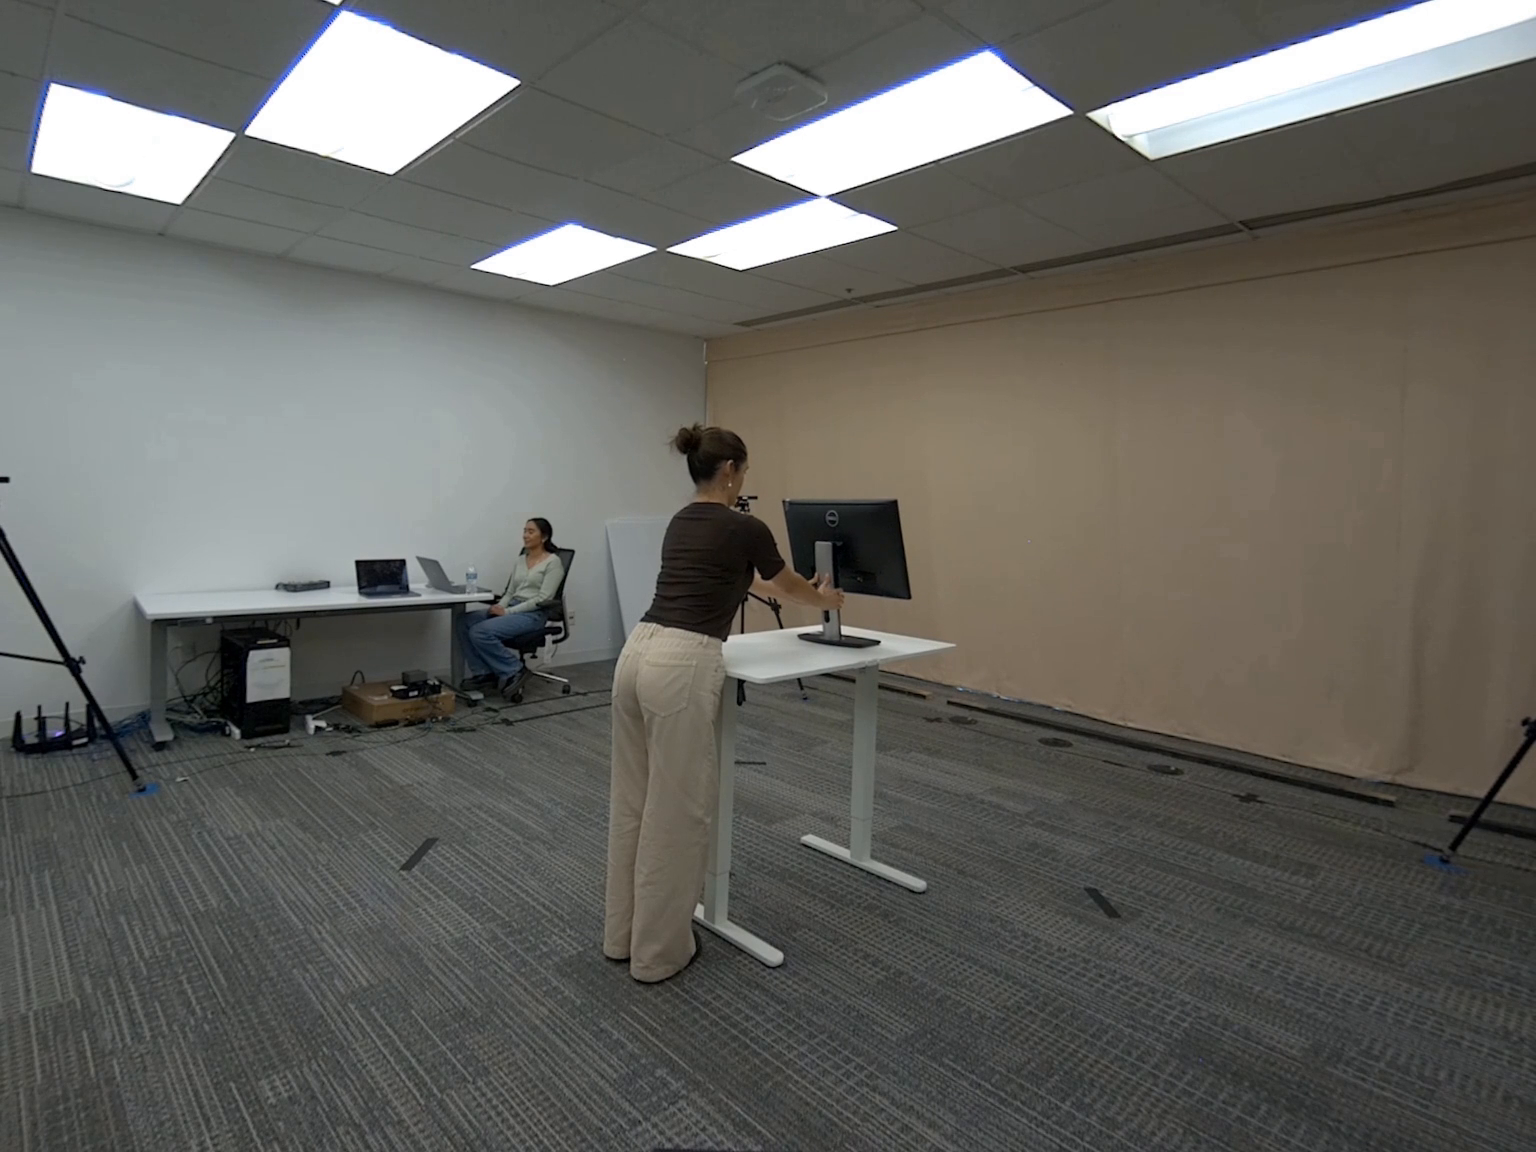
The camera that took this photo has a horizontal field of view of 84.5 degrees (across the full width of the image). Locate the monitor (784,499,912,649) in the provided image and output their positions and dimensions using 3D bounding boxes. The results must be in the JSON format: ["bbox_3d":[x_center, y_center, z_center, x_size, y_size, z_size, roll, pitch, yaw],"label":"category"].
[{"bbox_3d":[0.246,-0.012,3.015,0.183,0.521,0.553,-5,7,-44],"label":"monitor"}]
